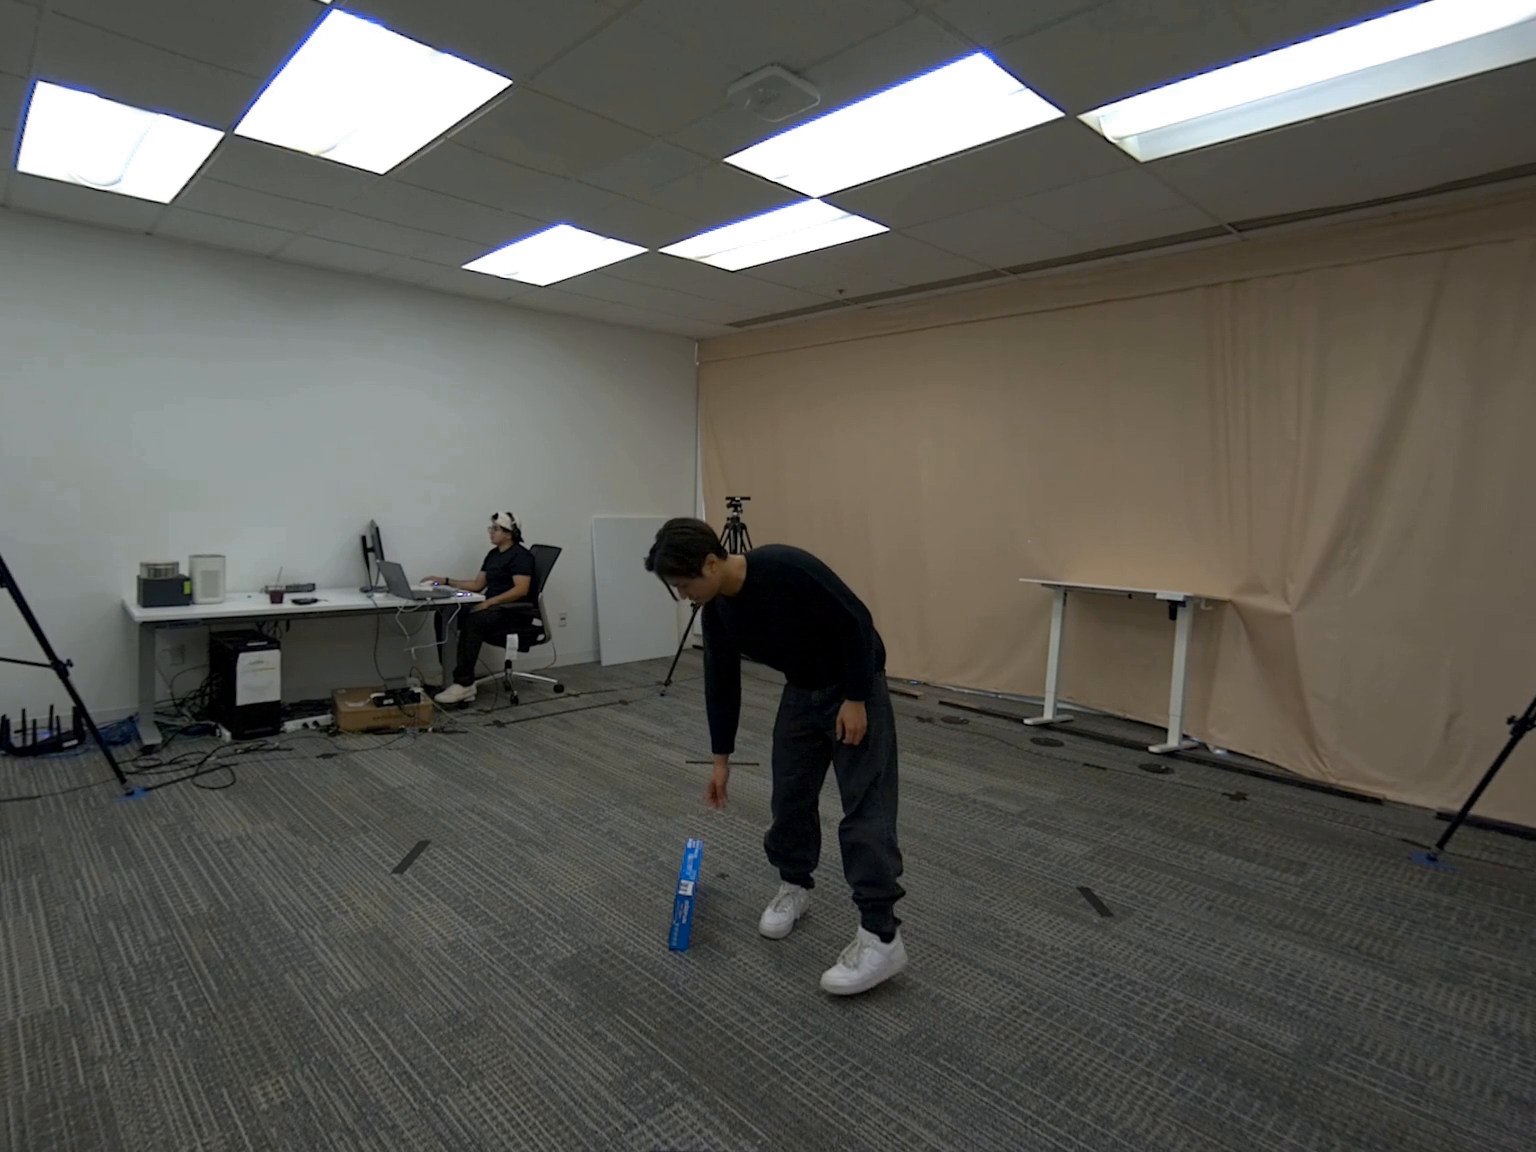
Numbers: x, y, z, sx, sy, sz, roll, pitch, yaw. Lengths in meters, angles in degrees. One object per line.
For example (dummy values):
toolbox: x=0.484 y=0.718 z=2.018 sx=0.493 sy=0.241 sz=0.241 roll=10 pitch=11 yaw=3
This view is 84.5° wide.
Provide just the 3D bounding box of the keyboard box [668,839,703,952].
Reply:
keyboard box: x=-0.274 y=1.044 z=2.792 sx=0.059 sy=0.175 sz=0.438 roll=8 pitch=4 yaw=-1
